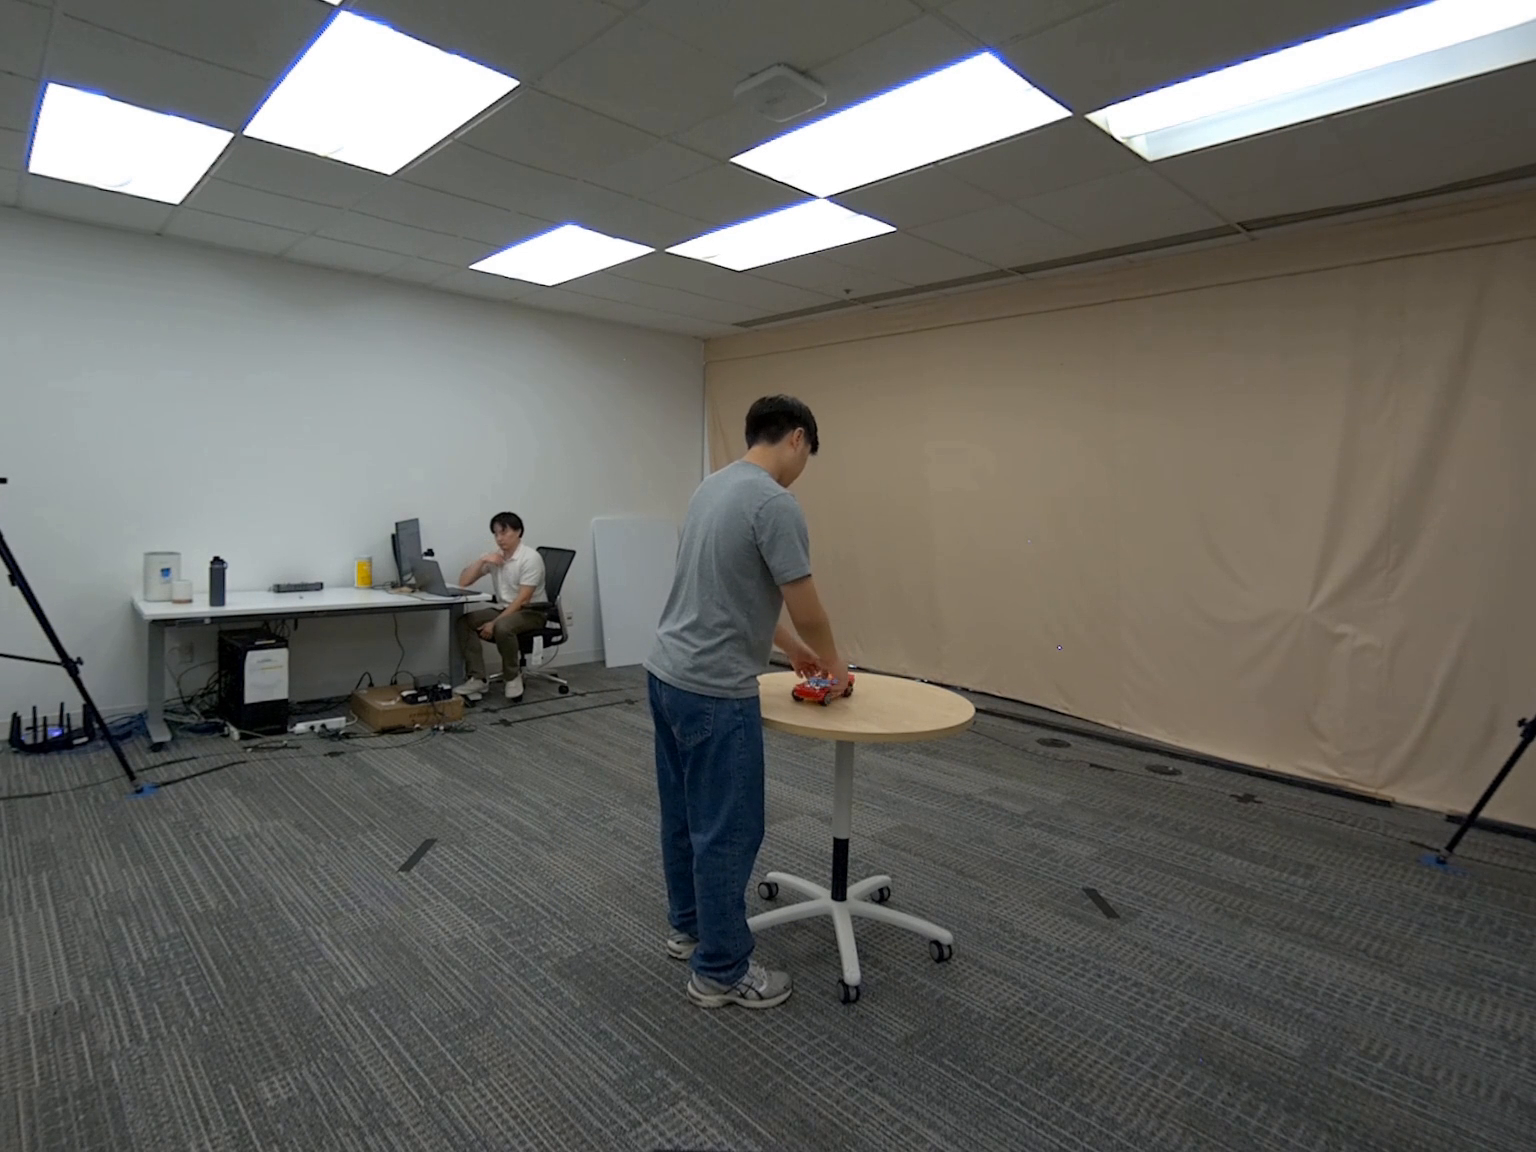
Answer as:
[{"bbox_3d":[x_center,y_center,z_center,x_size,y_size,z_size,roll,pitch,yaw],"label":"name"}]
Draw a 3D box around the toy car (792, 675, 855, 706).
[{"bbox_3d":[0.185,0.347,2.595,0.133,0.082,0.252,3,16,27],"label":"toy car"}]
